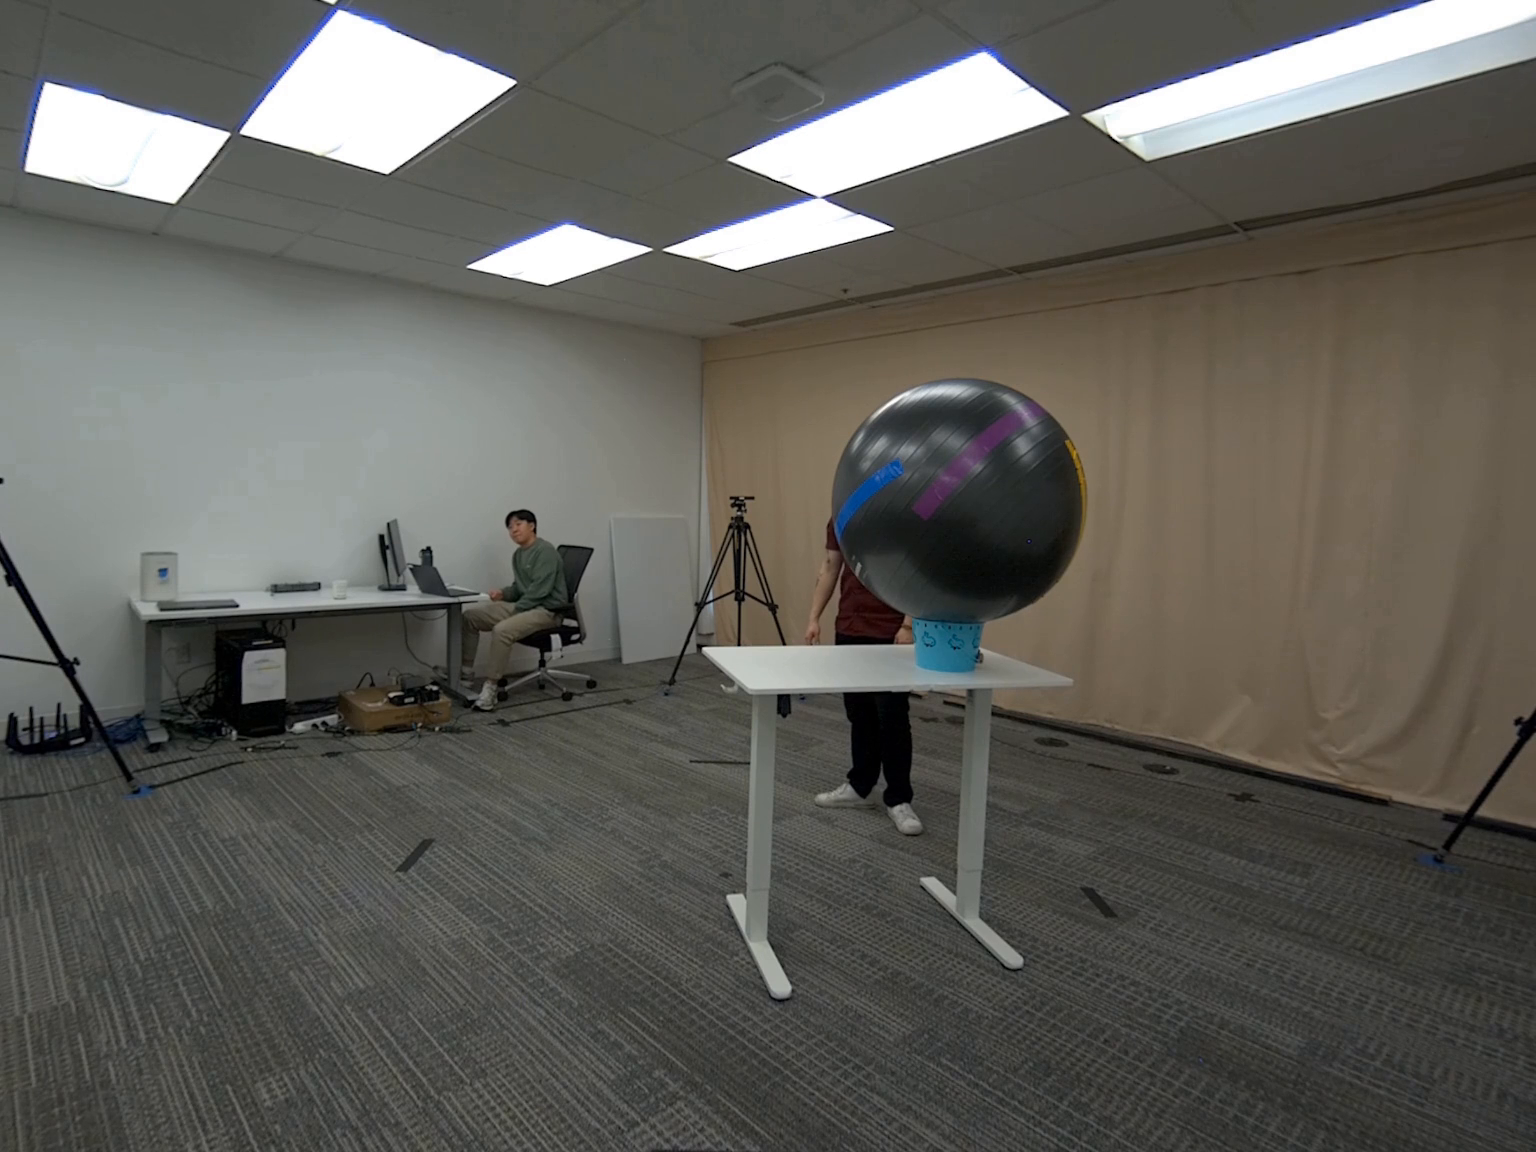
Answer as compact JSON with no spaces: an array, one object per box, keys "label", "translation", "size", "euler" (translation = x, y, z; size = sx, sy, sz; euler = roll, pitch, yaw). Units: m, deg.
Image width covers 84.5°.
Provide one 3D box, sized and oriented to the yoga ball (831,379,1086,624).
[{"label":"yoga ball","translation":[0.583,-0.216,2.594],"size":[0.757,0.756,0.760],"euler":[1,4,-1]}]
